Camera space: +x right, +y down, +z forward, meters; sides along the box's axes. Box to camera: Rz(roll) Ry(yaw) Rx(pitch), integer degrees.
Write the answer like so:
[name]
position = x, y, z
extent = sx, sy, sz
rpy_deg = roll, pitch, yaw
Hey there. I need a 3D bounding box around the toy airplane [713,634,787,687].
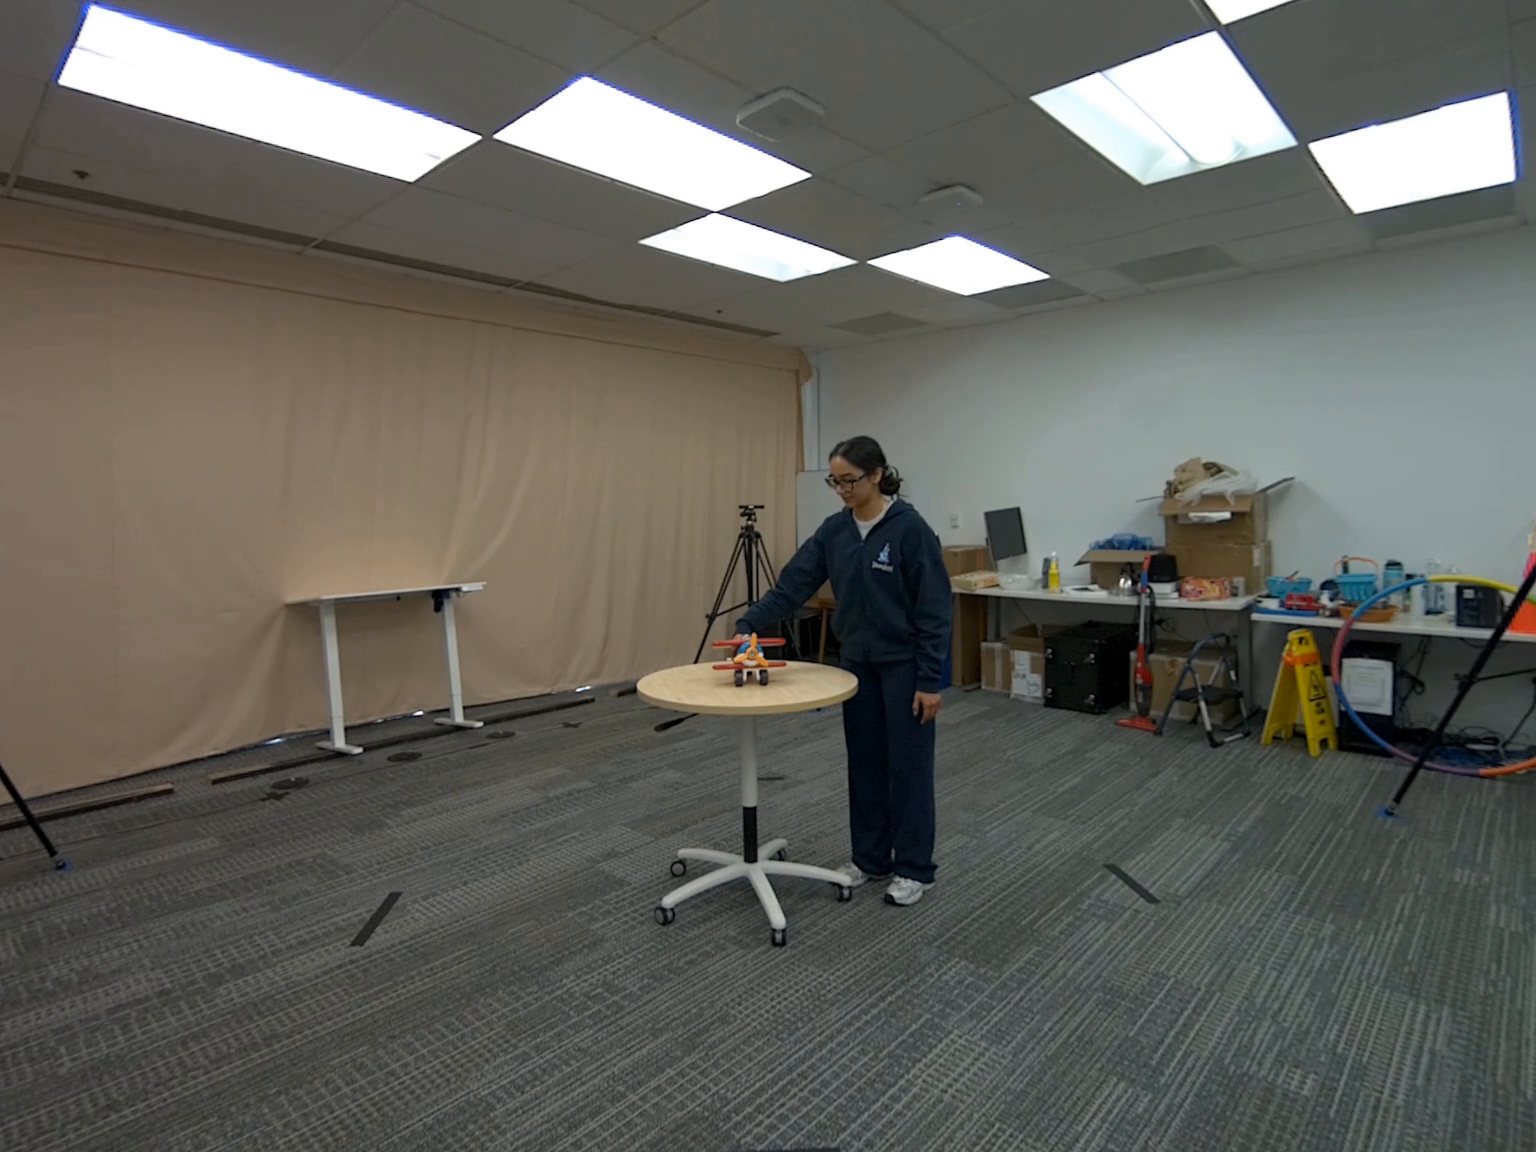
[toy airplane]
position = -0.082, 0.292, 2.930
extent = 0.244, 0.156, 0.267
rpy_deg = -5, 6, -33
